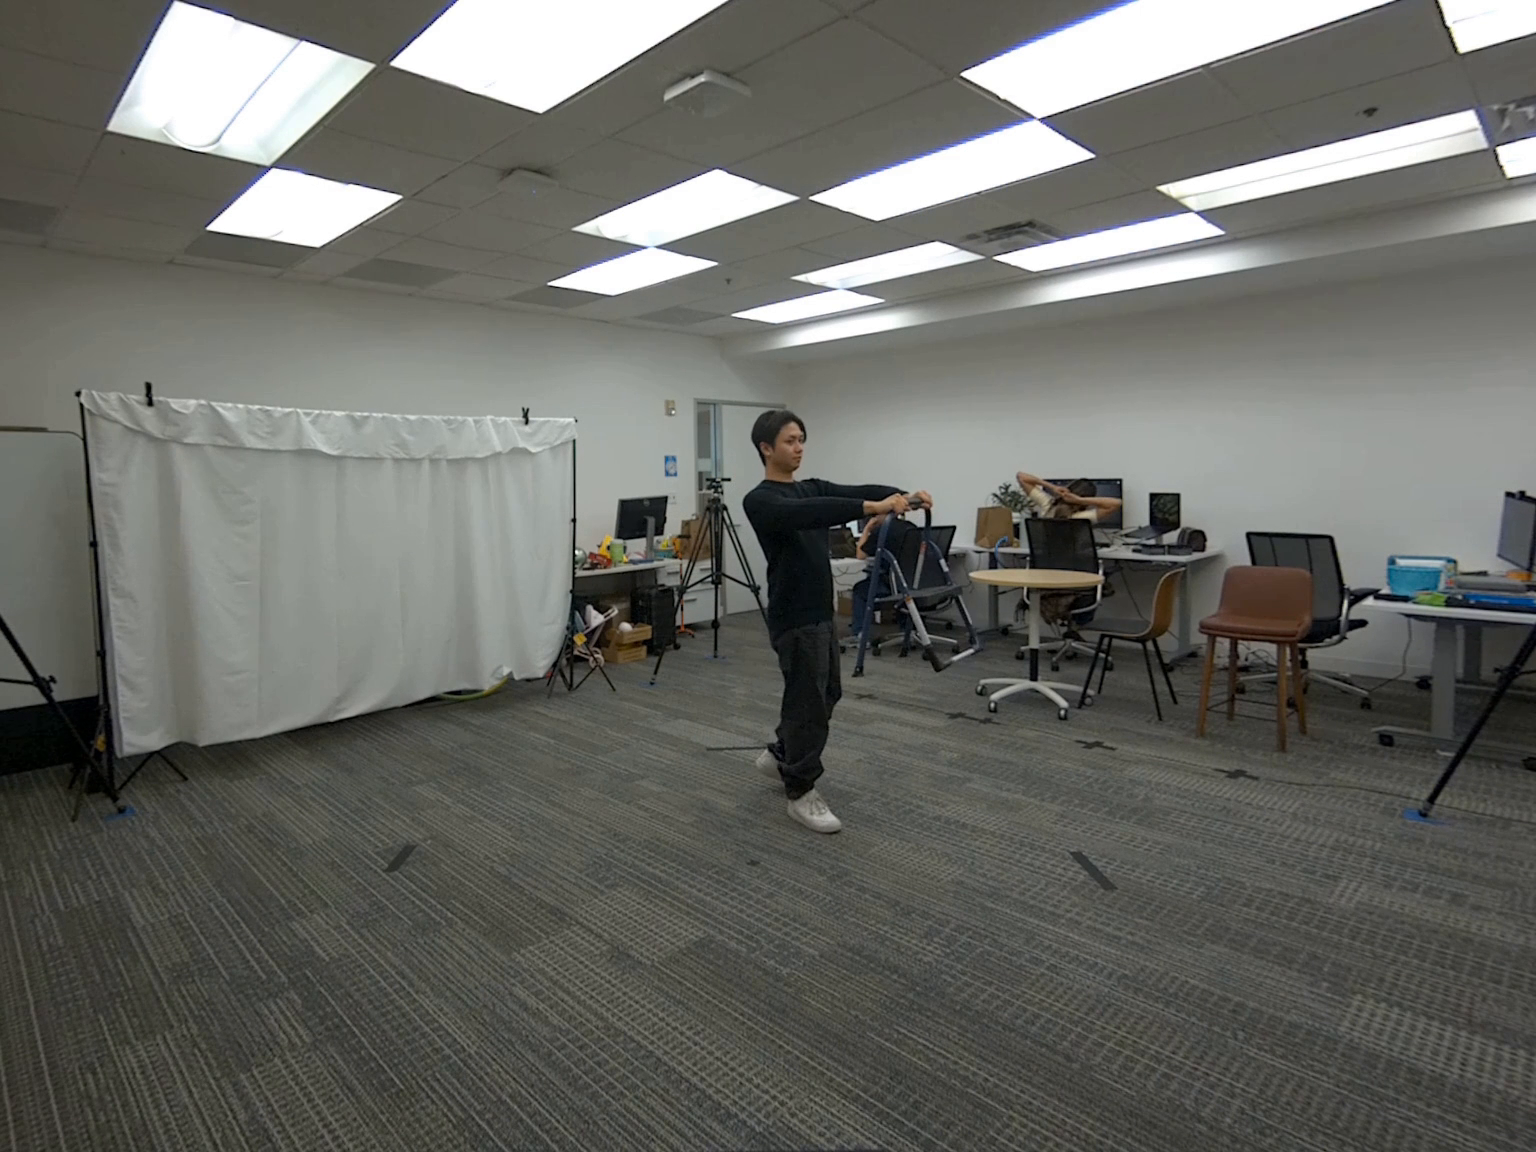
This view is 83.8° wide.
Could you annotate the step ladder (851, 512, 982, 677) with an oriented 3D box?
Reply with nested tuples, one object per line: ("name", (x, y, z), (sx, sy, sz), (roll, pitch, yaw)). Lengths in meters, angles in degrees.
("step ladder", (0.509, 0.024, 3.173), (0.357, 0.606, 0.421), (-9, 0, 35))
